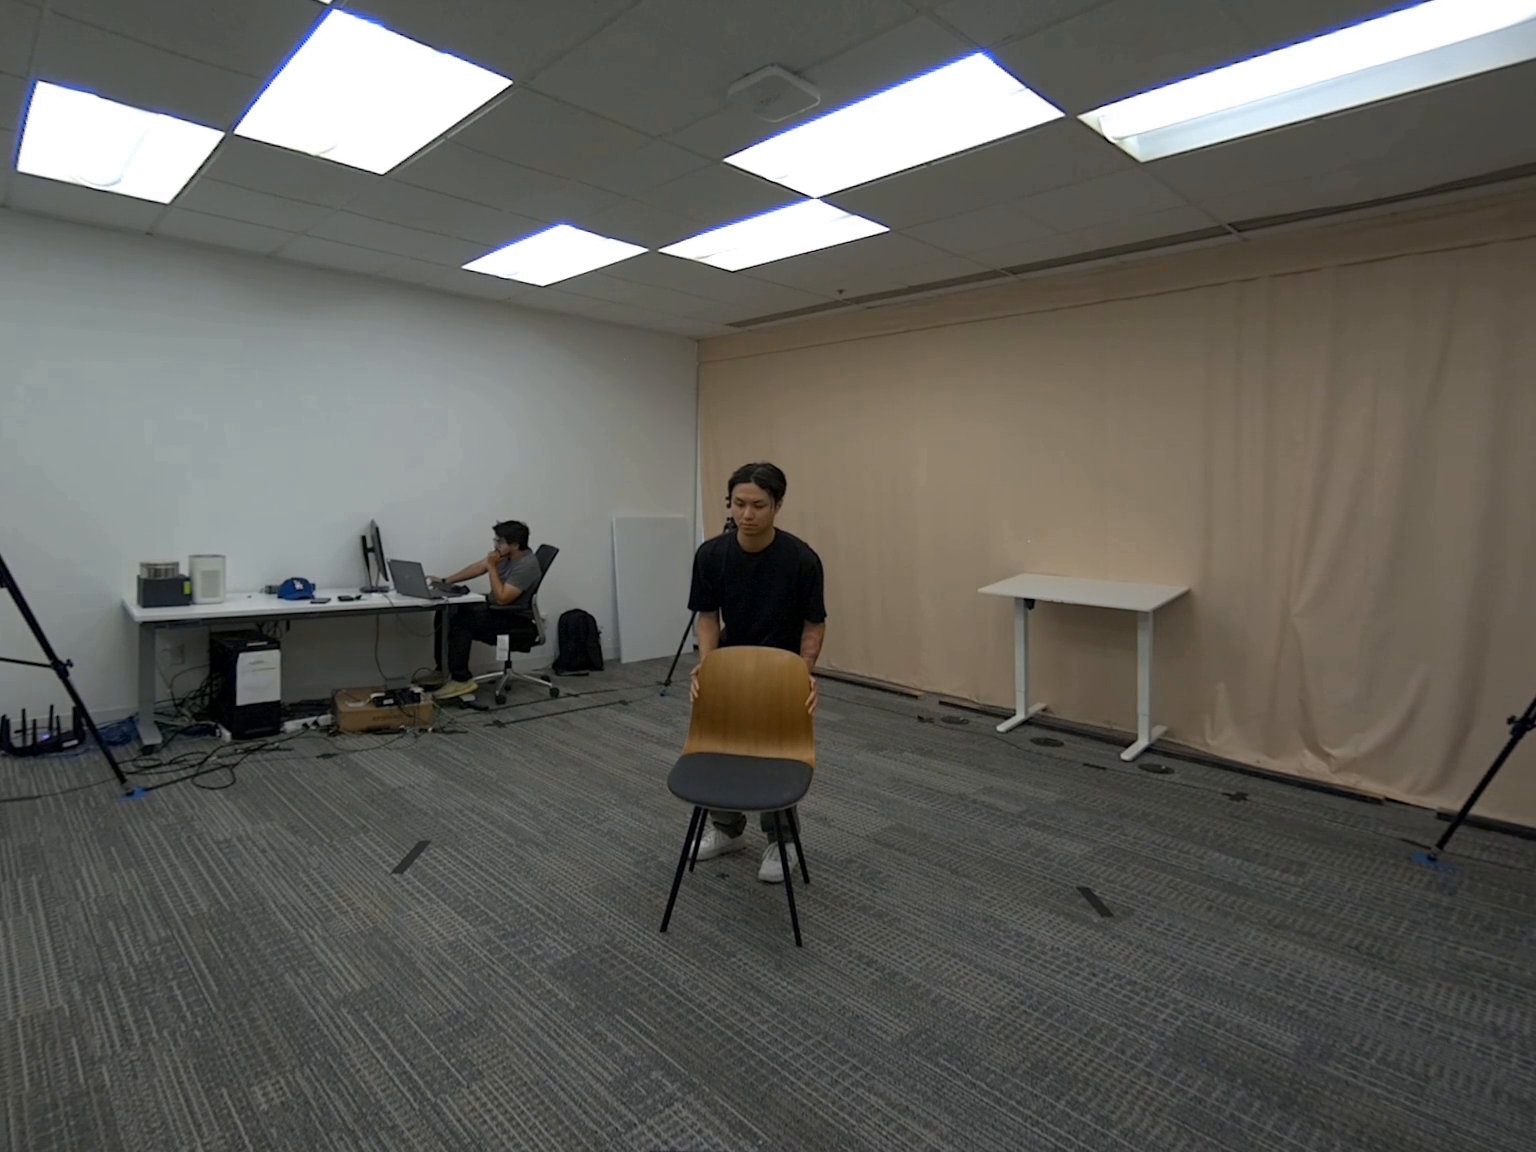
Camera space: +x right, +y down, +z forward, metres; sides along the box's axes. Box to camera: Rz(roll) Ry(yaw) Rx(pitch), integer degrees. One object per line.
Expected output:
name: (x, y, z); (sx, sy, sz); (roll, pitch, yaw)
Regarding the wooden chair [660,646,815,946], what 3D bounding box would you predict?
wooden chair: (-0.090, 0.705, 2.825); (0.481, 0.877, 0.519); (2, 0, 7)
